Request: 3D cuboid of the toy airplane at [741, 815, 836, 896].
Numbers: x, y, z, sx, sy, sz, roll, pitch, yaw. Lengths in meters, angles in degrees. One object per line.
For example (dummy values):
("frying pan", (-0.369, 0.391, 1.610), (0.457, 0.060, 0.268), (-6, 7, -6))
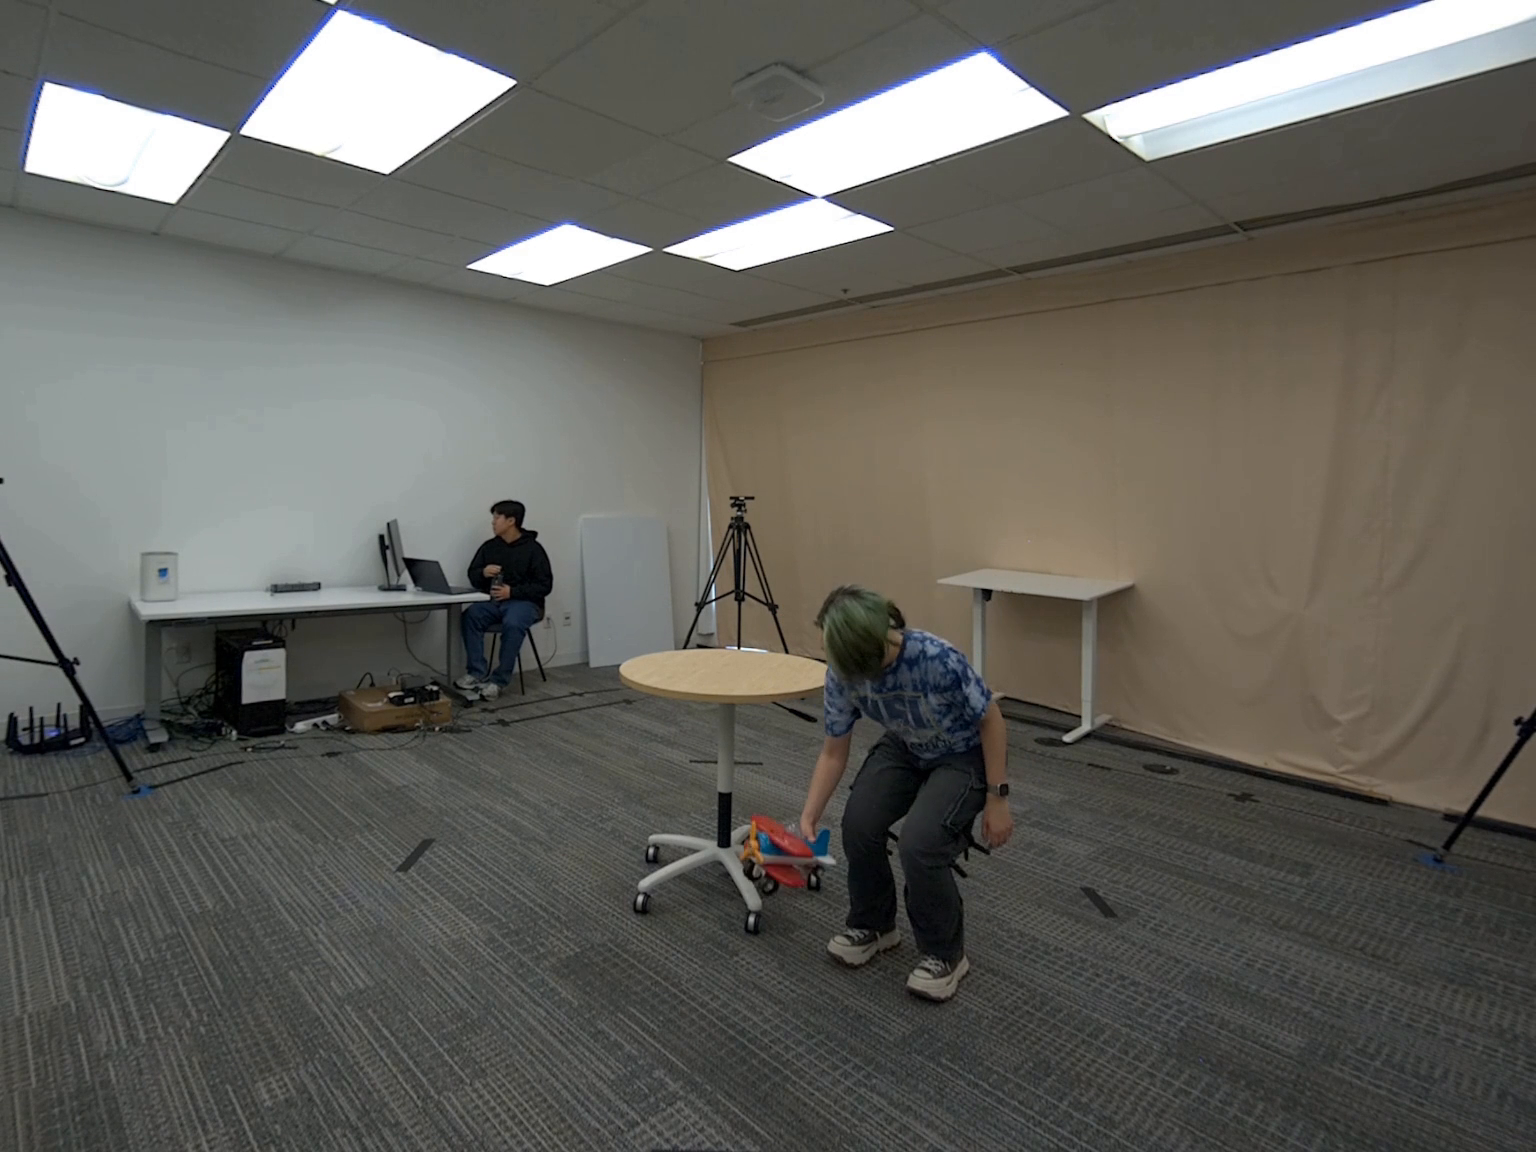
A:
("toy airplane", (0.051, 0.761, 2.317), (0.257, 0.155, 0.254), (7, 10, 37))
